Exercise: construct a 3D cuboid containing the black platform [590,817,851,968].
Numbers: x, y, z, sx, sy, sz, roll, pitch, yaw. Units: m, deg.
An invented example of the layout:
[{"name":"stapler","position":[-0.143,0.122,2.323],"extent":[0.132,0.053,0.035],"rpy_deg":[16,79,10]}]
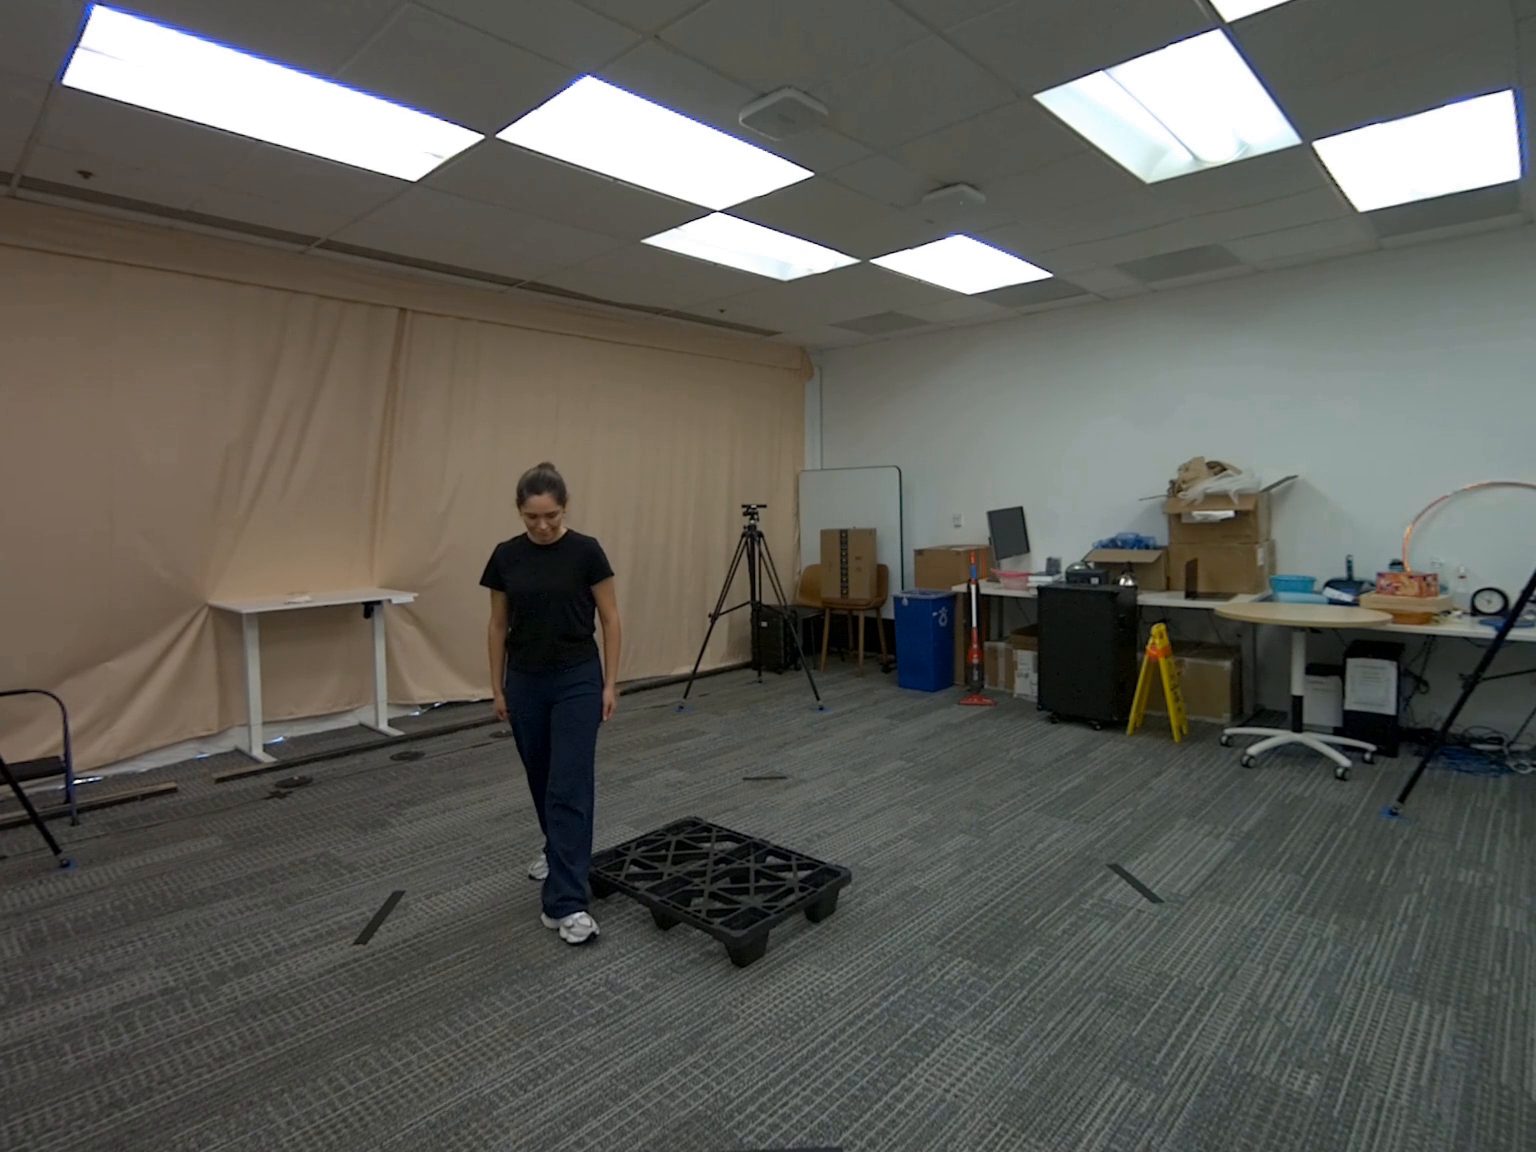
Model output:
[{"name":"black platform","position":[-0.189,1.082,2.938],"extent":[0.832,0.143,0.587],"rpy_deg":[3,7,42]}]
